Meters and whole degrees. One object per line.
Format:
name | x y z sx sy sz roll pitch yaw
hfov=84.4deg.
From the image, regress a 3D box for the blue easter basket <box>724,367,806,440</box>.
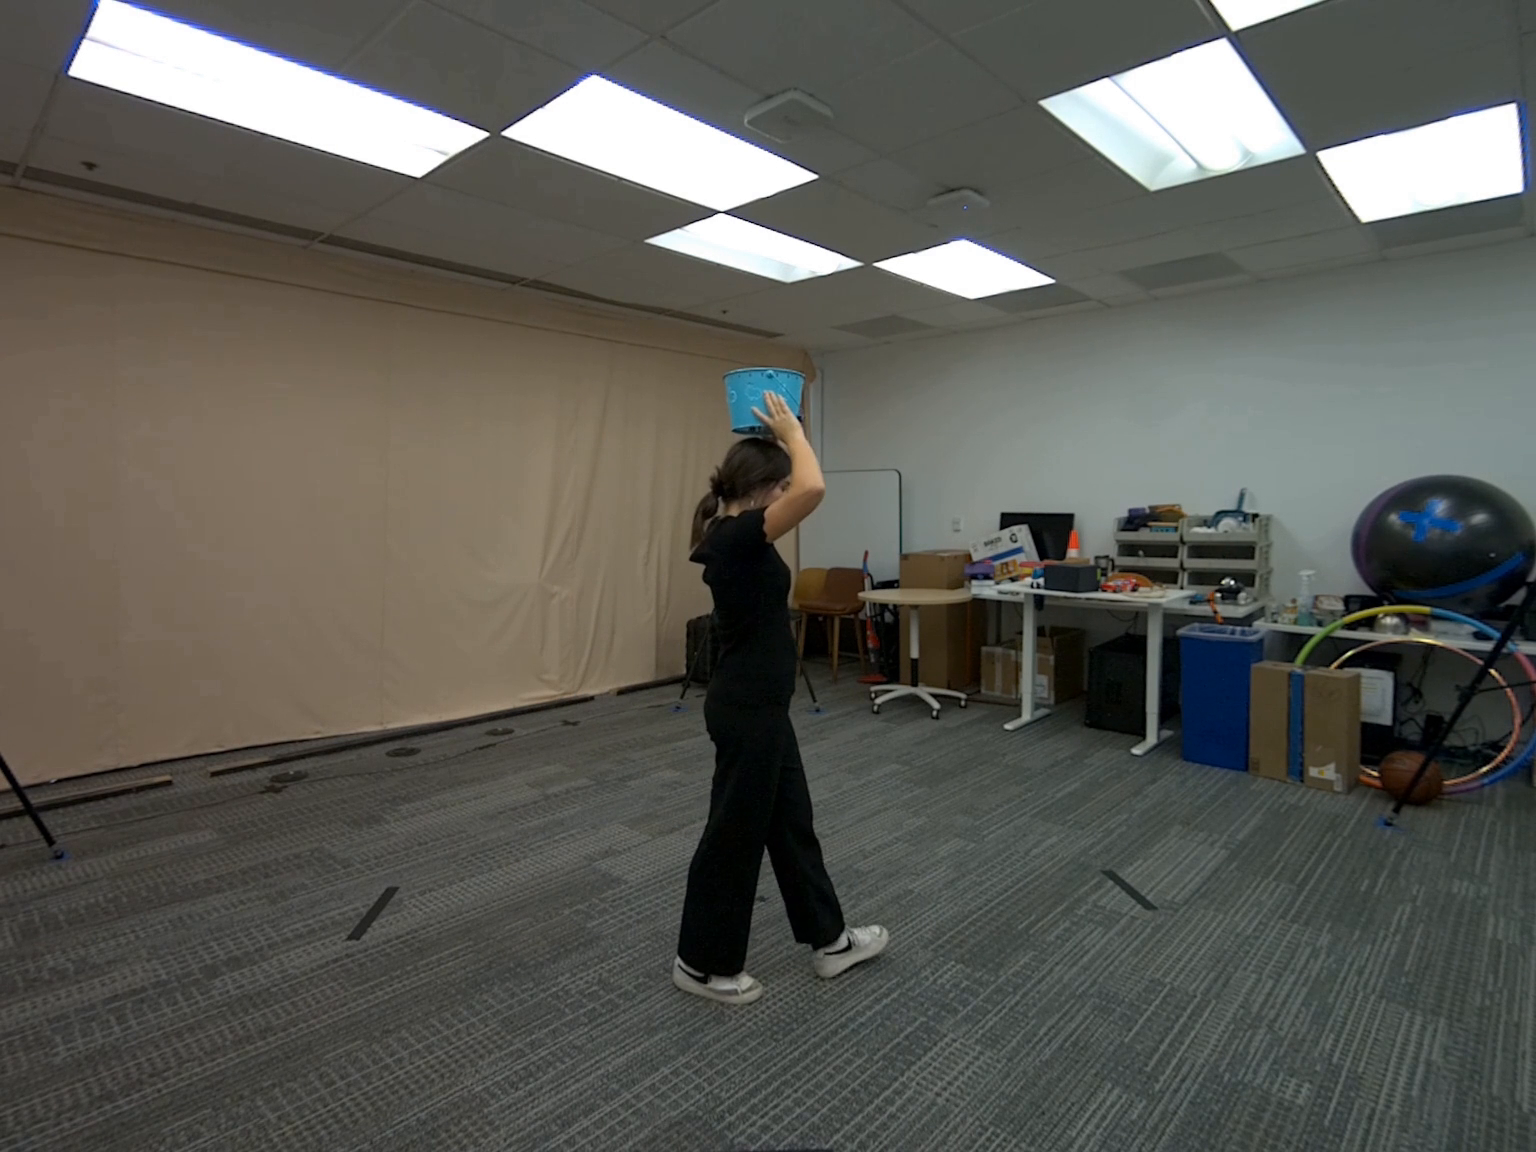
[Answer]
blue easter basket | -0.001 -0.484 2.357 0.243 0.156 0.244 -1 1 -2
